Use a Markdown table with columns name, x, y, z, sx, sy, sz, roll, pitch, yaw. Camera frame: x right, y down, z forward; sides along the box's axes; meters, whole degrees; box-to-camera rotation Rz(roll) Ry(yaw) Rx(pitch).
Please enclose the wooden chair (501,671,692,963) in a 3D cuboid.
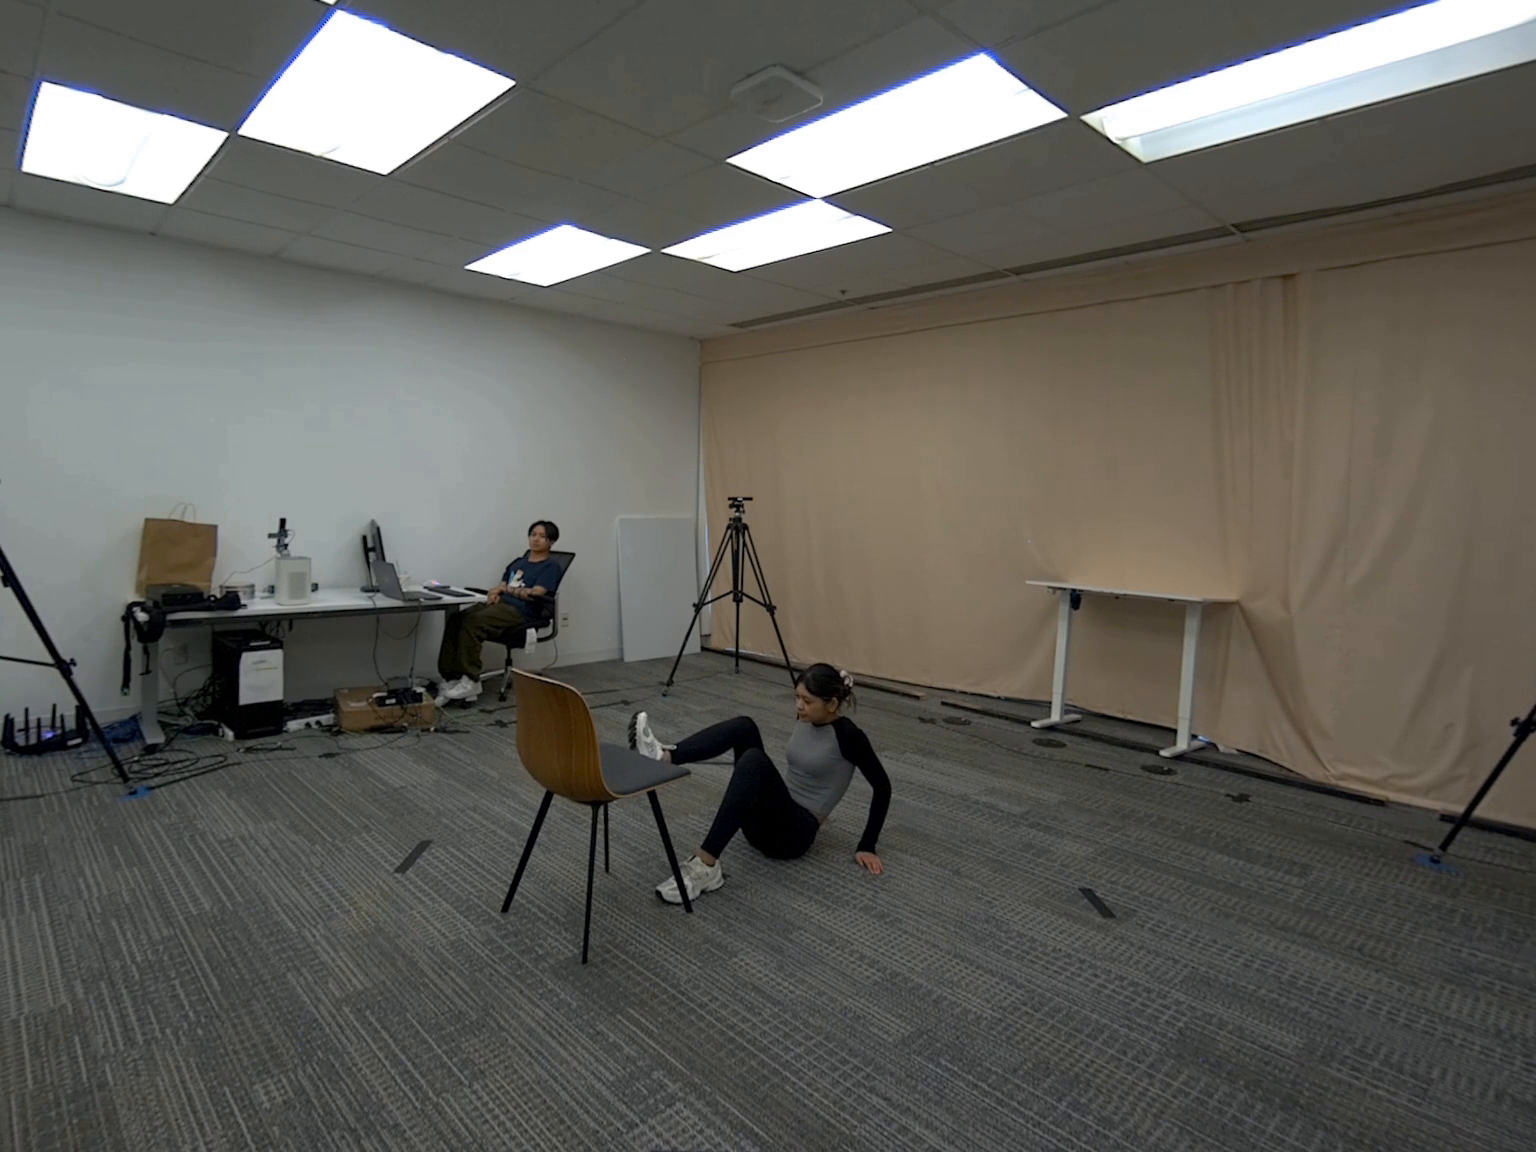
| name | x | y | z | sx | sy | sz | roll | pitch | yaw |
| --- | --- | --- | --- | --- | --- | --- | --- | --- | --- |
| wooden chair | -0.558 | 0.700 | 2.783 | 0.490 | 0.873 | 0.513 | 4 | 9 | 41 |
